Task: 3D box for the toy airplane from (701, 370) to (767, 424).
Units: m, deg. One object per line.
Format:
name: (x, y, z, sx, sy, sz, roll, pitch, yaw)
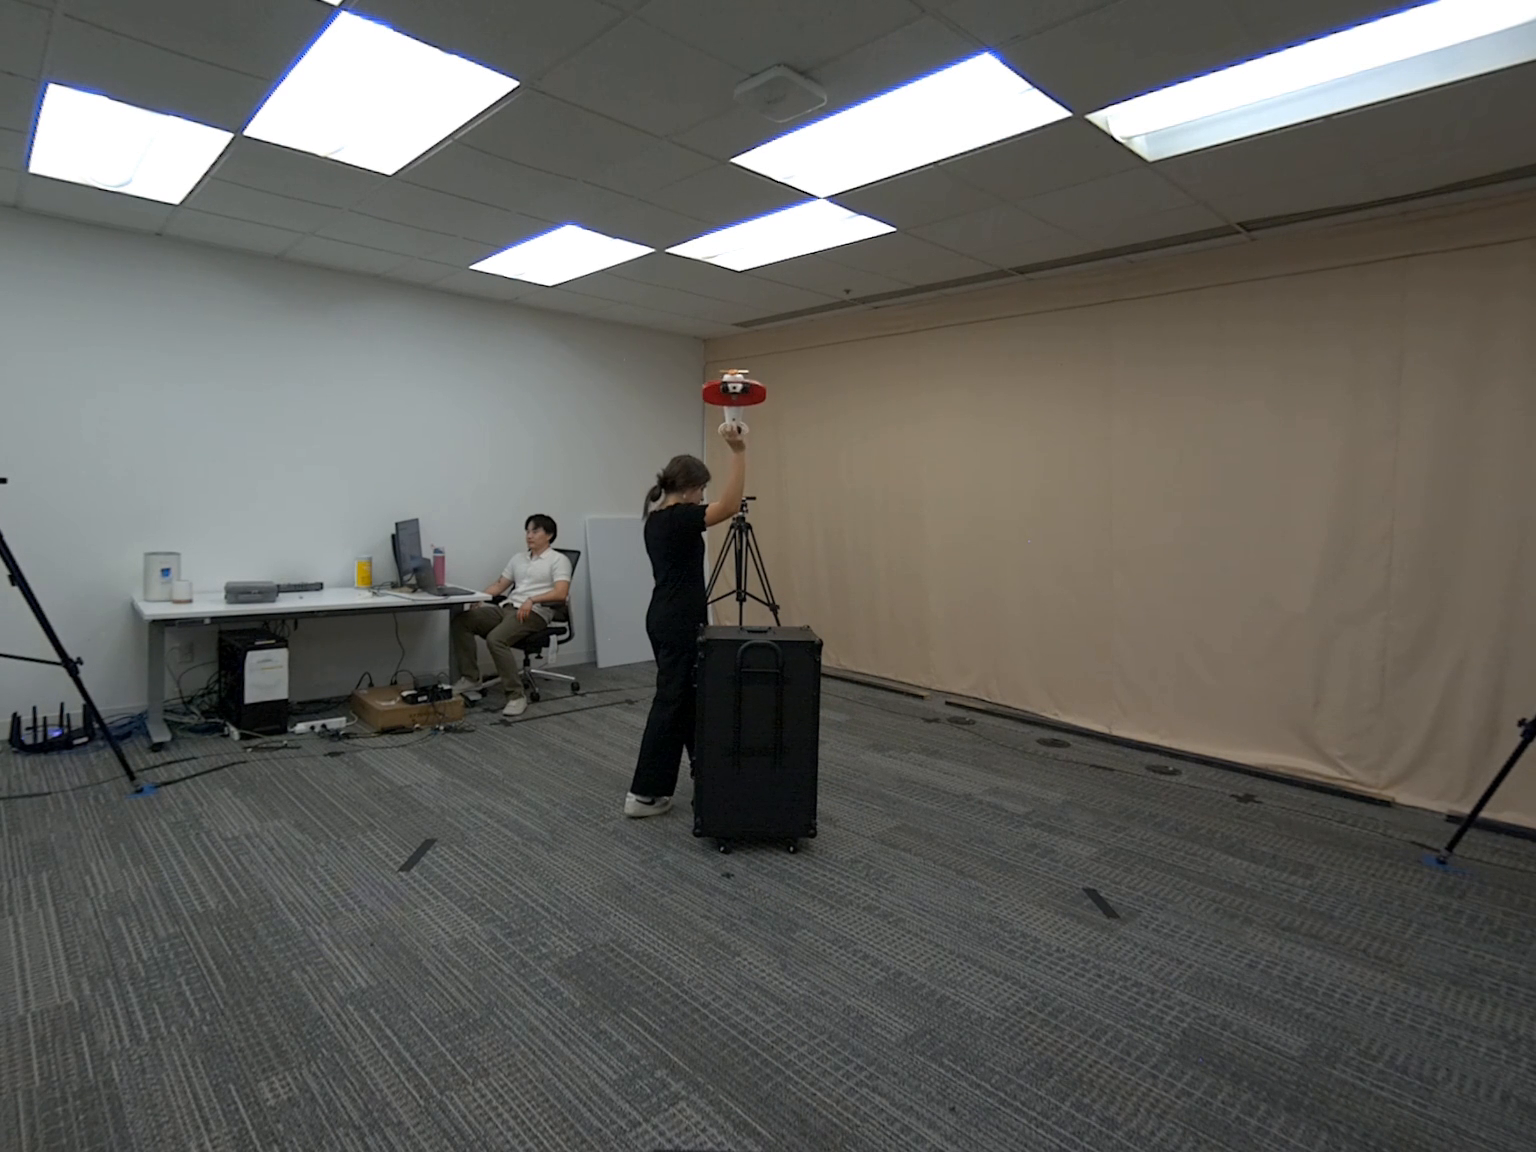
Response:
toy airplane: (-0.156, -0.697, 3.381, 0.247, 0.258, 0.160, 23, 26, -16)
